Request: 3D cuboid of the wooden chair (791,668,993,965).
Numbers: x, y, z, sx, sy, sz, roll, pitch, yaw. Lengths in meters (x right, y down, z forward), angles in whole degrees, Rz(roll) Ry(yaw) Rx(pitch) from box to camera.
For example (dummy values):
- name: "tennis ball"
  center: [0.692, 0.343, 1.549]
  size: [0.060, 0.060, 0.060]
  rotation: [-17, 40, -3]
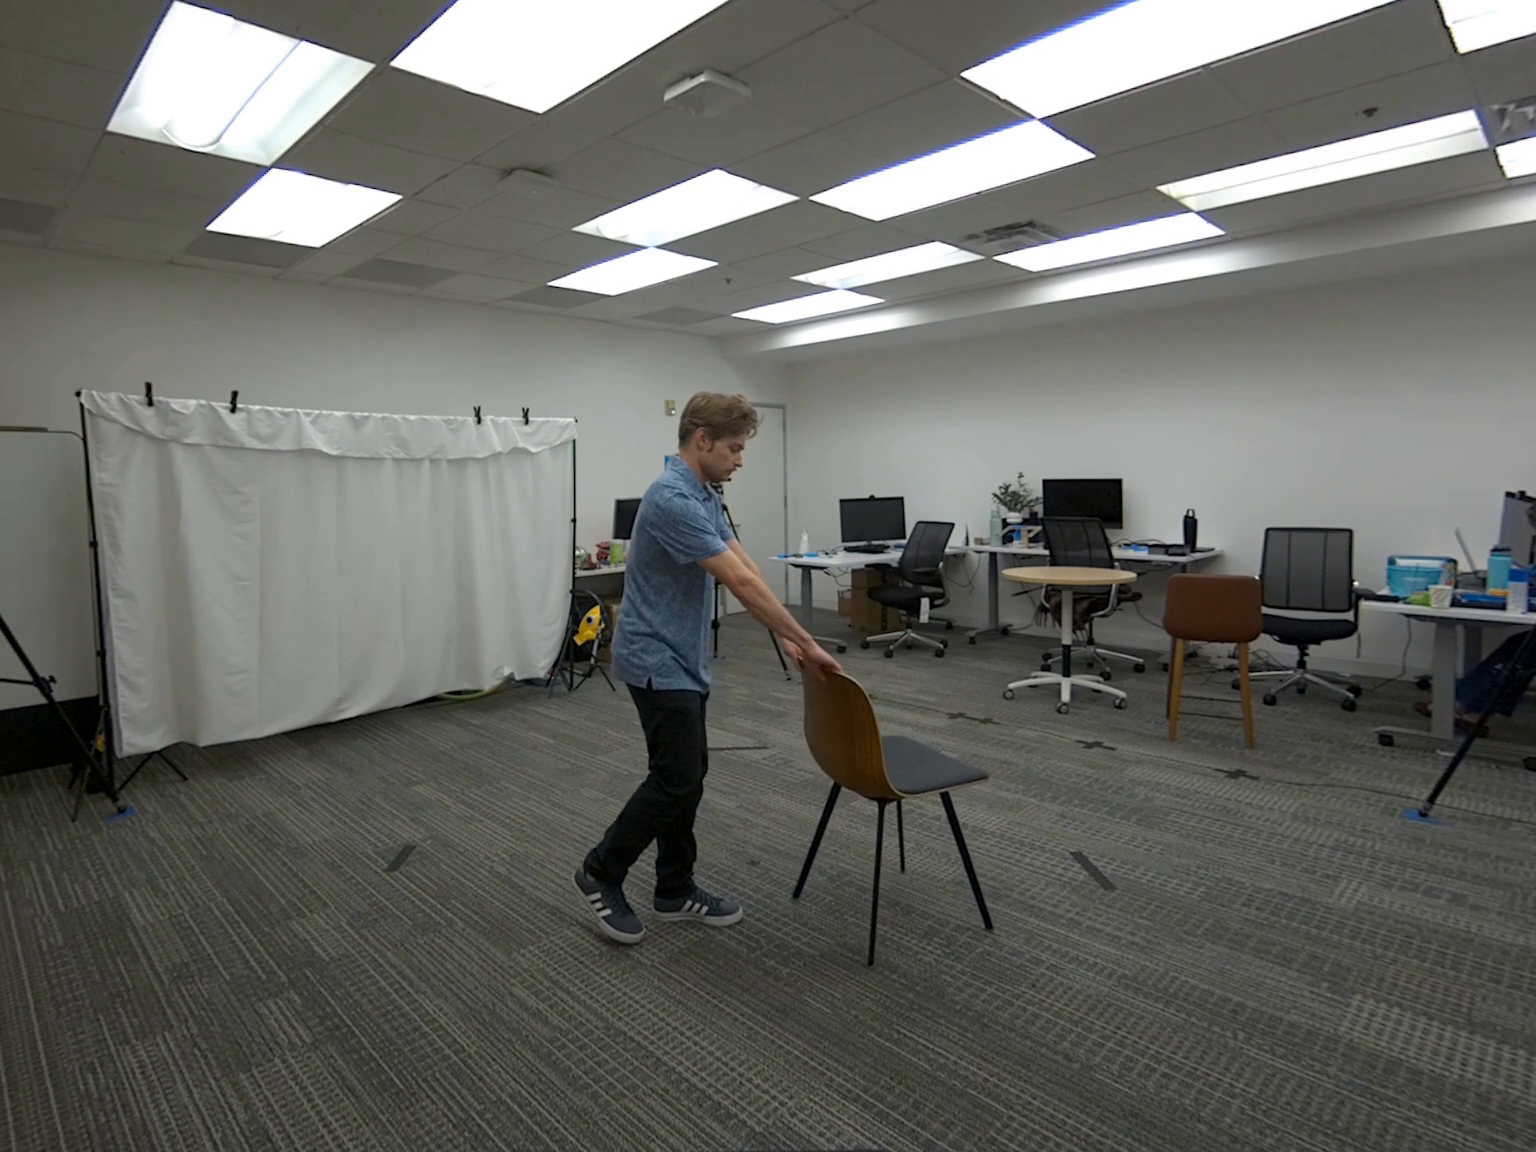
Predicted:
- name: "wooden chair"
  center: [0.387, 0.649, 2.700]
  size: [0.513, 0.872, 0.490]
  rotation: [-8, 7, -26]
